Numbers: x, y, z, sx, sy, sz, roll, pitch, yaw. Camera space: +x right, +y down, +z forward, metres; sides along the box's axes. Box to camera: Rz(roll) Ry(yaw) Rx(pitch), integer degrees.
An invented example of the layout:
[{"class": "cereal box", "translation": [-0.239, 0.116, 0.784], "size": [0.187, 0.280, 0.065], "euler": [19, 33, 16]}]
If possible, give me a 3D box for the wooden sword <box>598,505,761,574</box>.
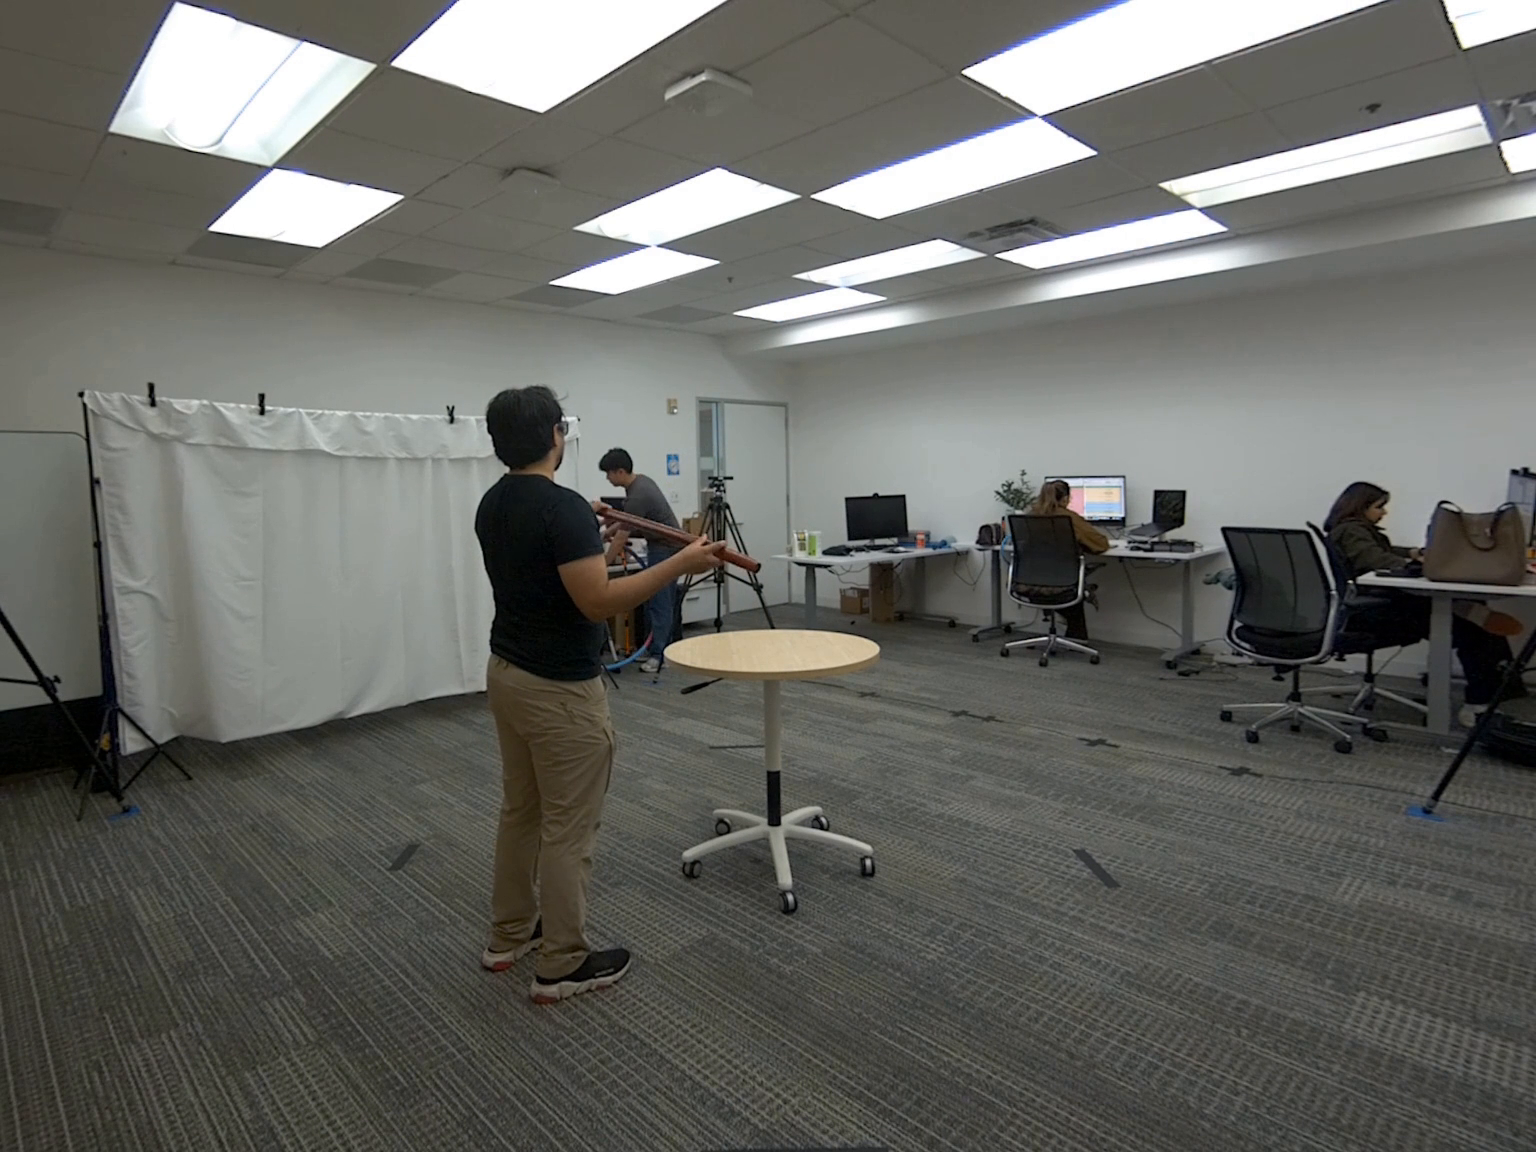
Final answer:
[{"class": "wooden sword", "translation": [-0.351, -0.150, 2.603], "size": [0.050, 0.024, 1.062], "euler": [-18, 26, -40]}]
